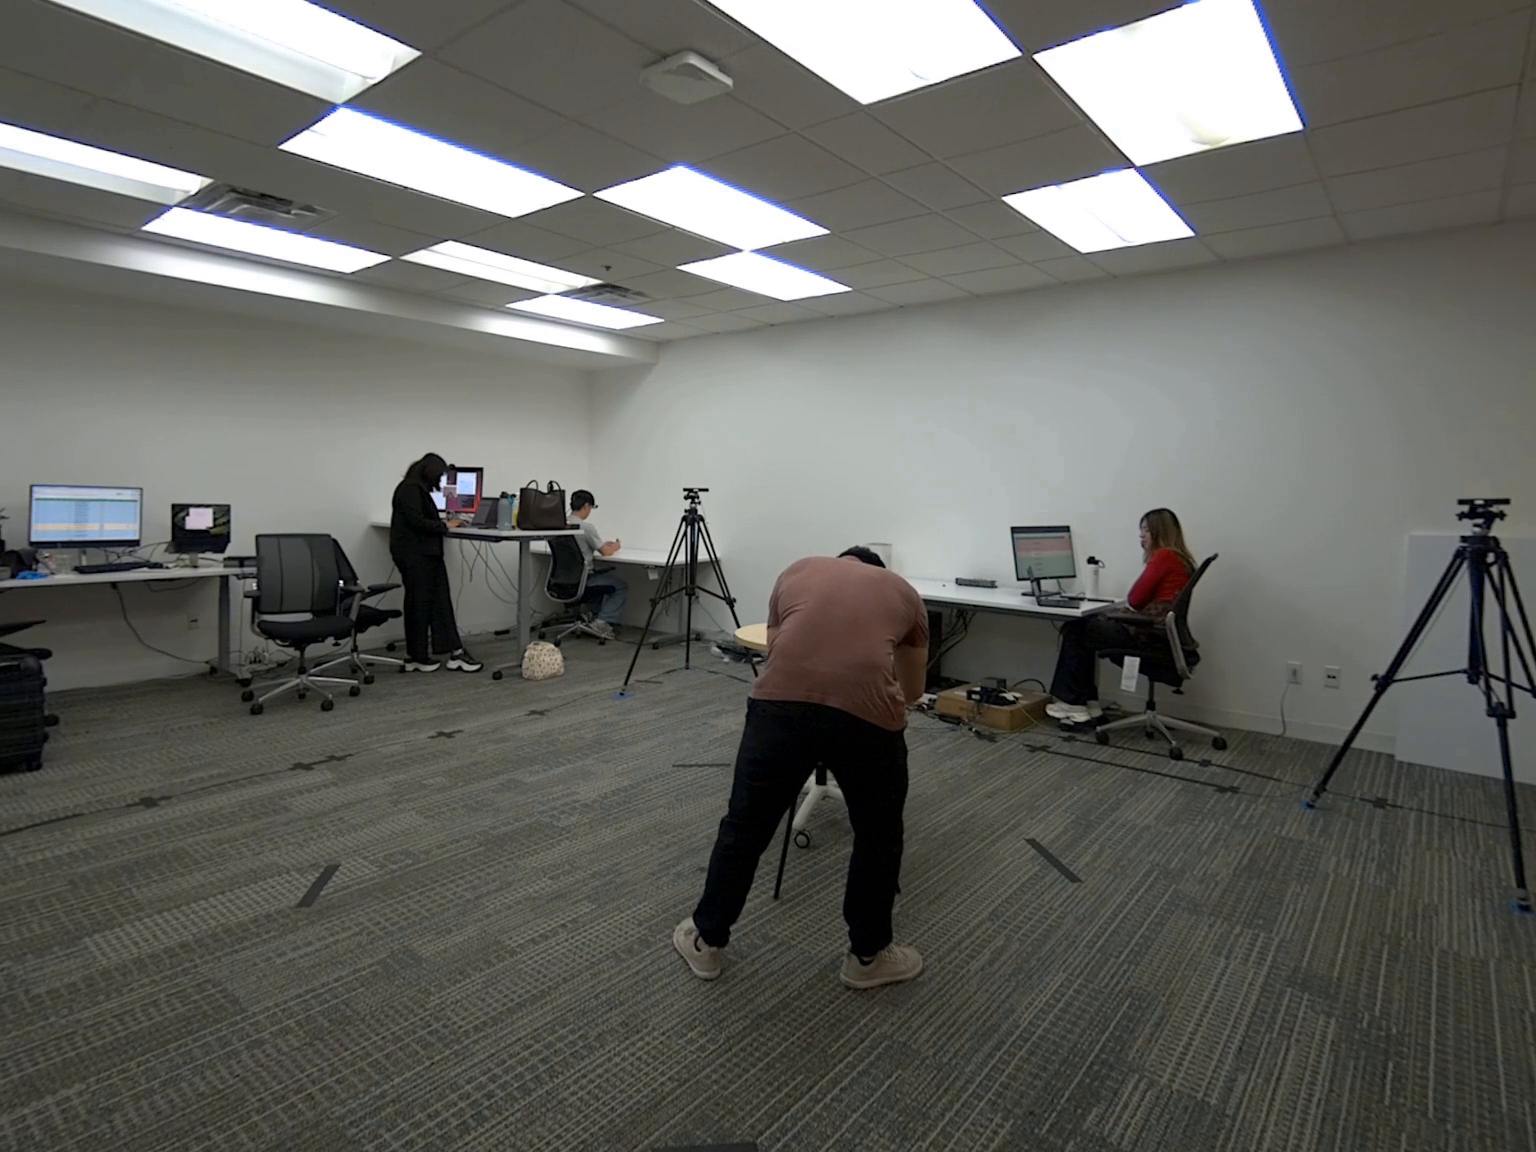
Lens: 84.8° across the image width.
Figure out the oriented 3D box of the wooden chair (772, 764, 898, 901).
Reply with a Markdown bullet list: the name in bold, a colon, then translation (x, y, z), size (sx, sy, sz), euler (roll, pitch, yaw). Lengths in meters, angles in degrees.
- **wooden chair**: translation (0.187, 0.640, 3.111), size (0.473, 0.870, 0.534), euler (-1, 9, -12)
